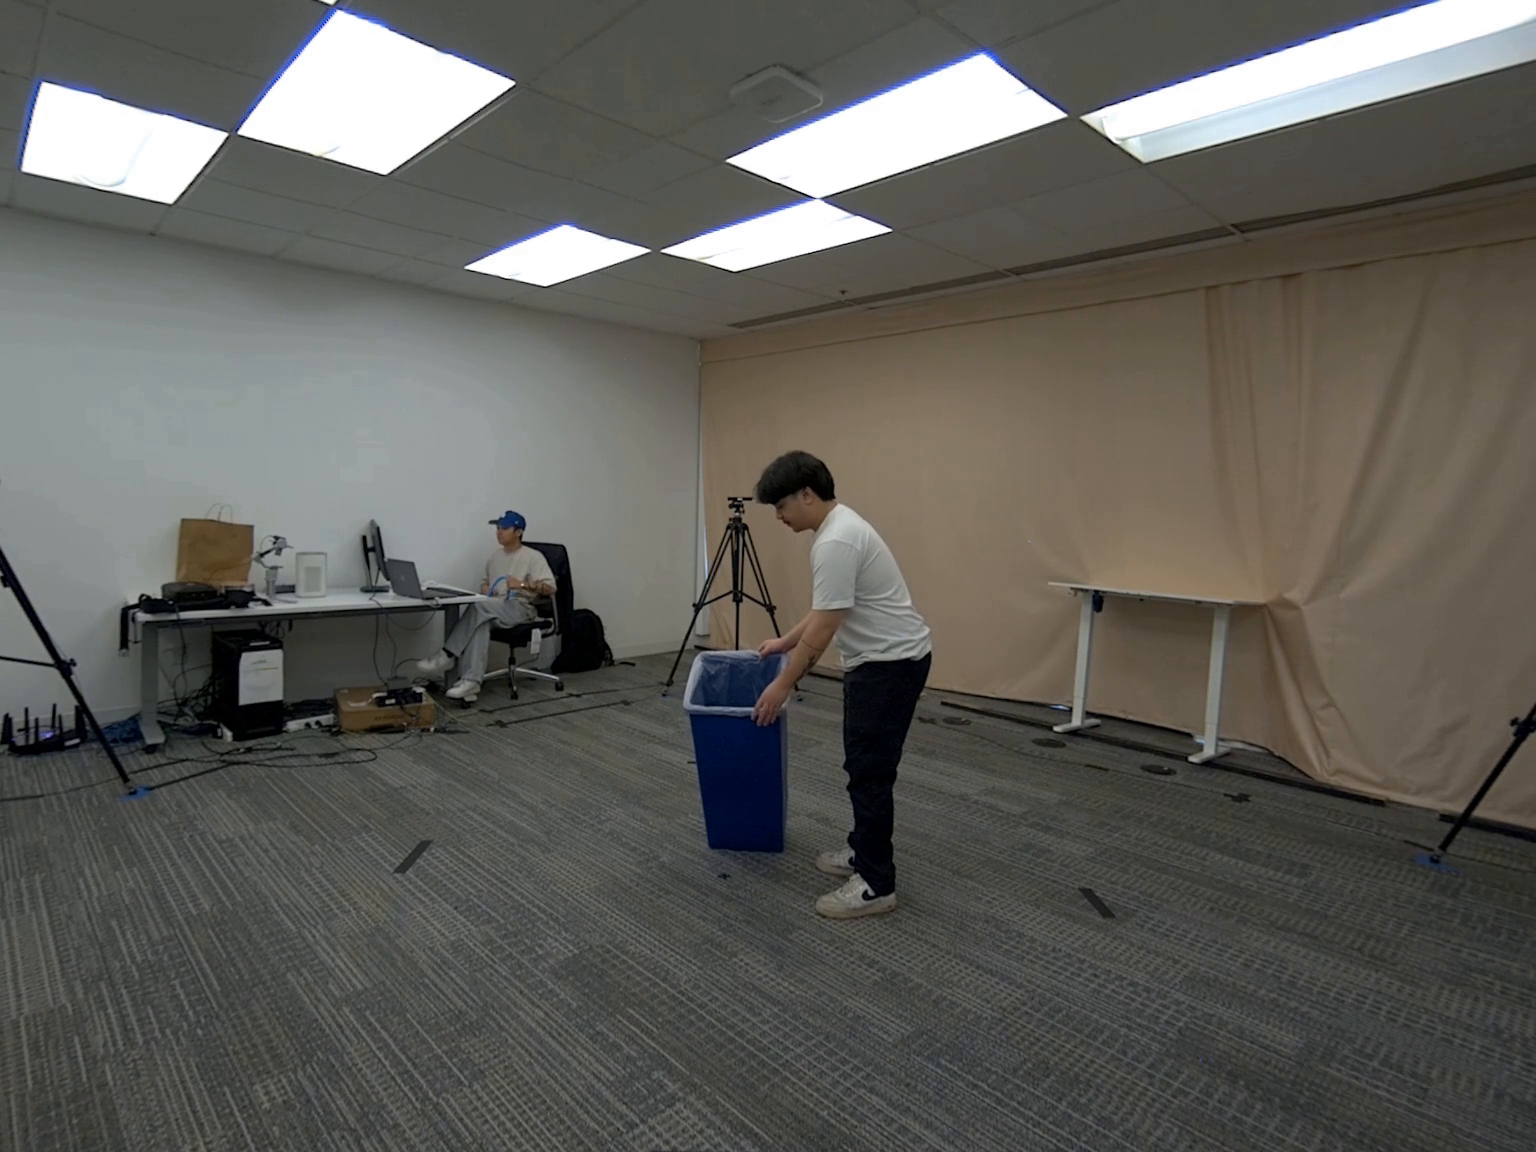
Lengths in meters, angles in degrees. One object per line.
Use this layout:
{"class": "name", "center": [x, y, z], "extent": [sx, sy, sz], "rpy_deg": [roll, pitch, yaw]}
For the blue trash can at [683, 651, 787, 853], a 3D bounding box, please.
{"class": "blue trash can", "center": [-0.103, 0.707, 3.306], "extent": [0.376, 0.701, 0.383], "rpy_deg": [0, 25, 5]}
